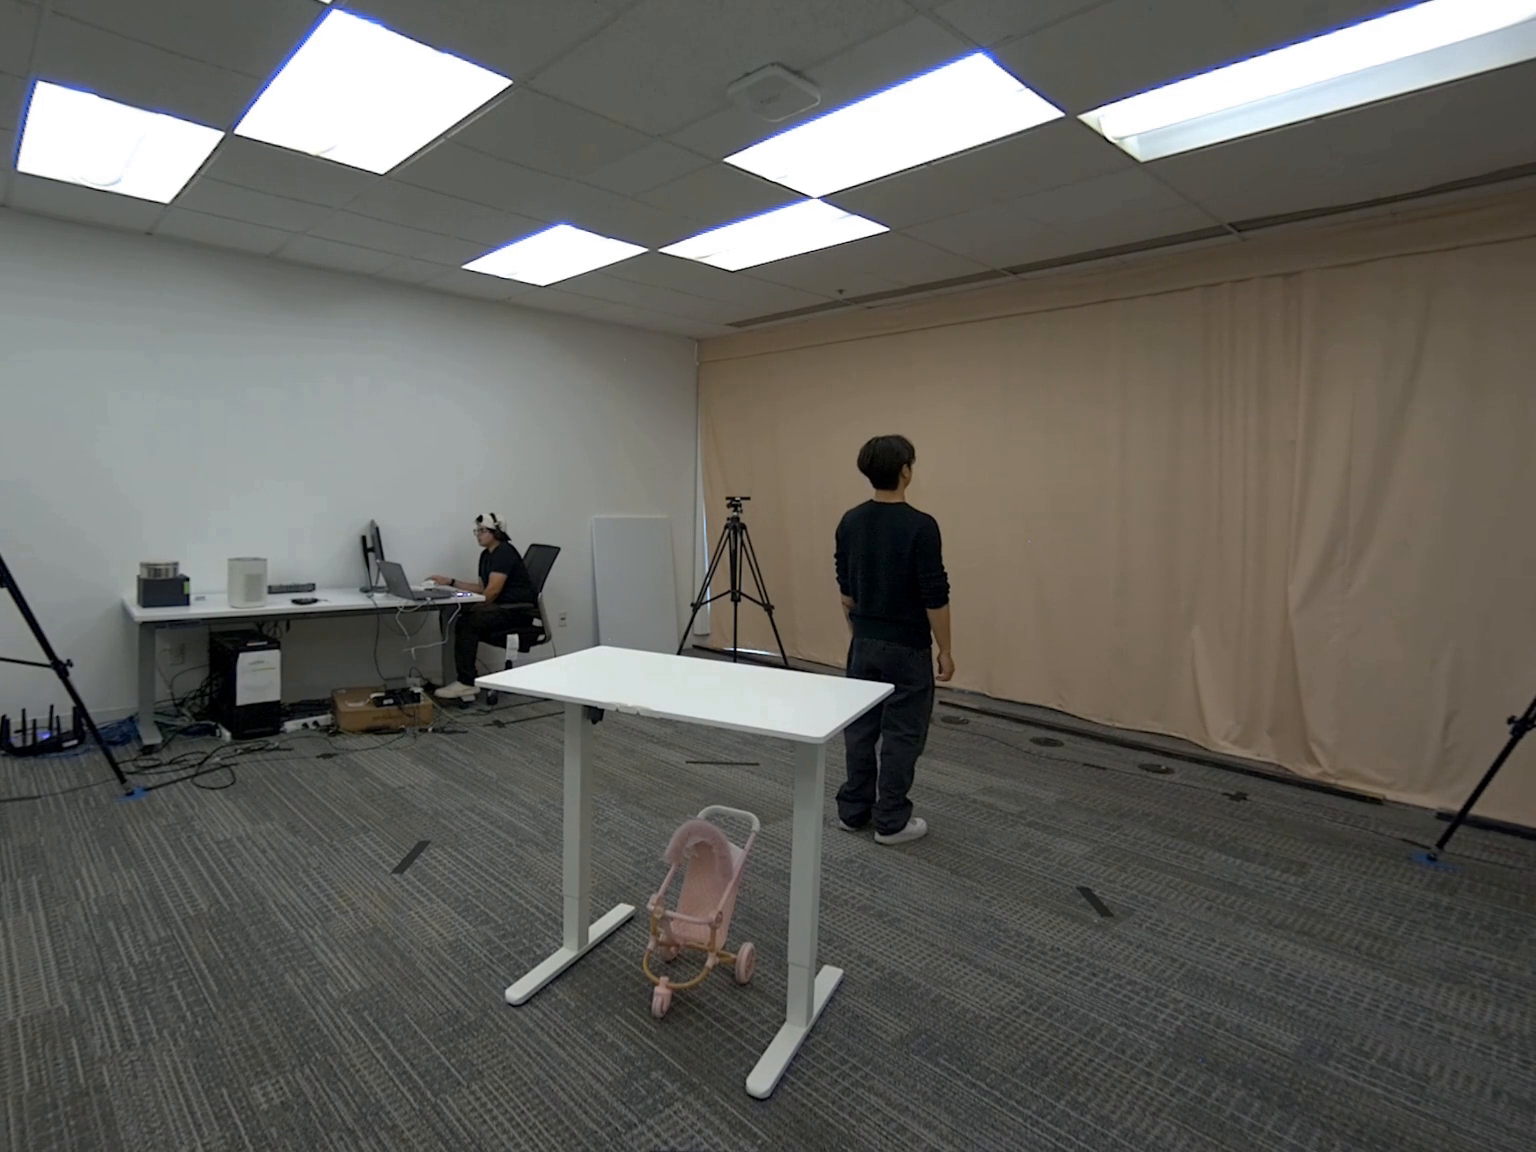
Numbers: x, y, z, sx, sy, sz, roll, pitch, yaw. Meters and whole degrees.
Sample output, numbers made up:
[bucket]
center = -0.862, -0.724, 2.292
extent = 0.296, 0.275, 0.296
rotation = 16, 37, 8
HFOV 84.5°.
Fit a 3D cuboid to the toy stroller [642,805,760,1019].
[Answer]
[toy stroller]
center = -0.207, 0.948, 2.408
extent = 0.287, 0.538, 0.332
rotation = 3, -12, 29
